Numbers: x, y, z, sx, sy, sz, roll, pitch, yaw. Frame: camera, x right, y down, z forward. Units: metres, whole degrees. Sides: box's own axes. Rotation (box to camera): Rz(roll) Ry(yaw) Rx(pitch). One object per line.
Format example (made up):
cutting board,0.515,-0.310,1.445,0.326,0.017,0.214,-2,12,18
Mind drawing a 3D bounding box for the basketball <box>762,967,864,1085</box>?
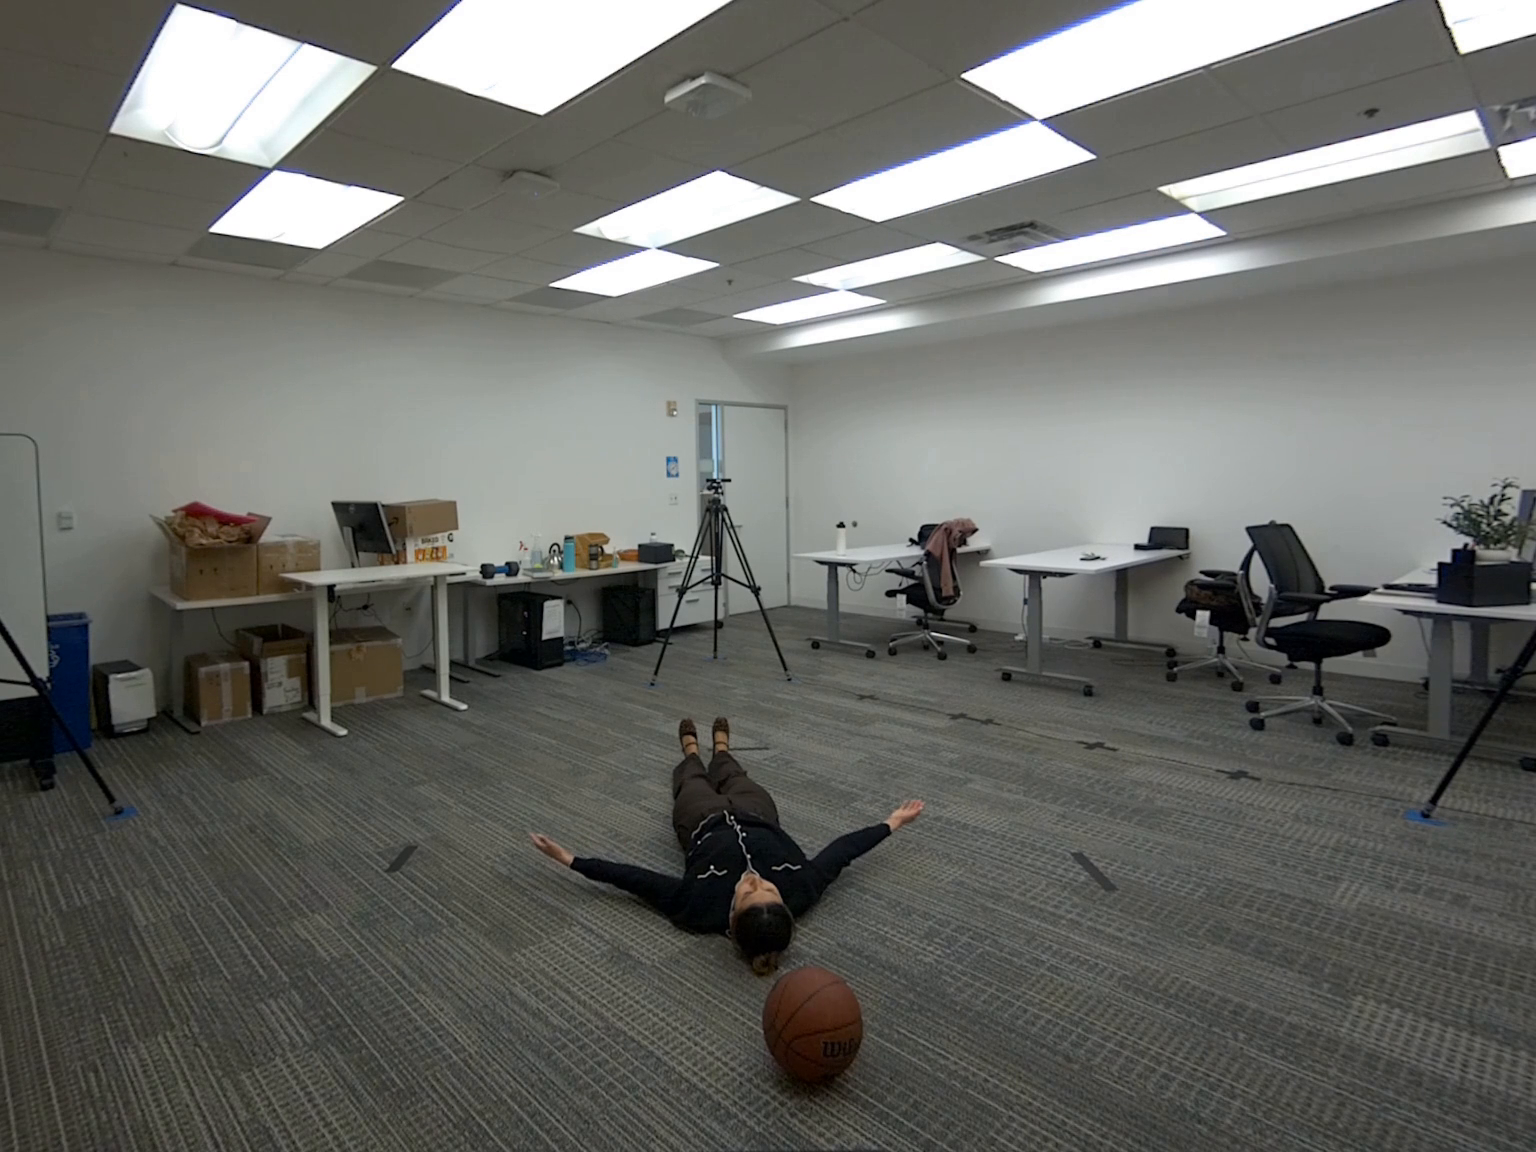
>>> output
basketball,0.114,1.052,2.014,0.236,0.235,0.237,-1,5,-2
